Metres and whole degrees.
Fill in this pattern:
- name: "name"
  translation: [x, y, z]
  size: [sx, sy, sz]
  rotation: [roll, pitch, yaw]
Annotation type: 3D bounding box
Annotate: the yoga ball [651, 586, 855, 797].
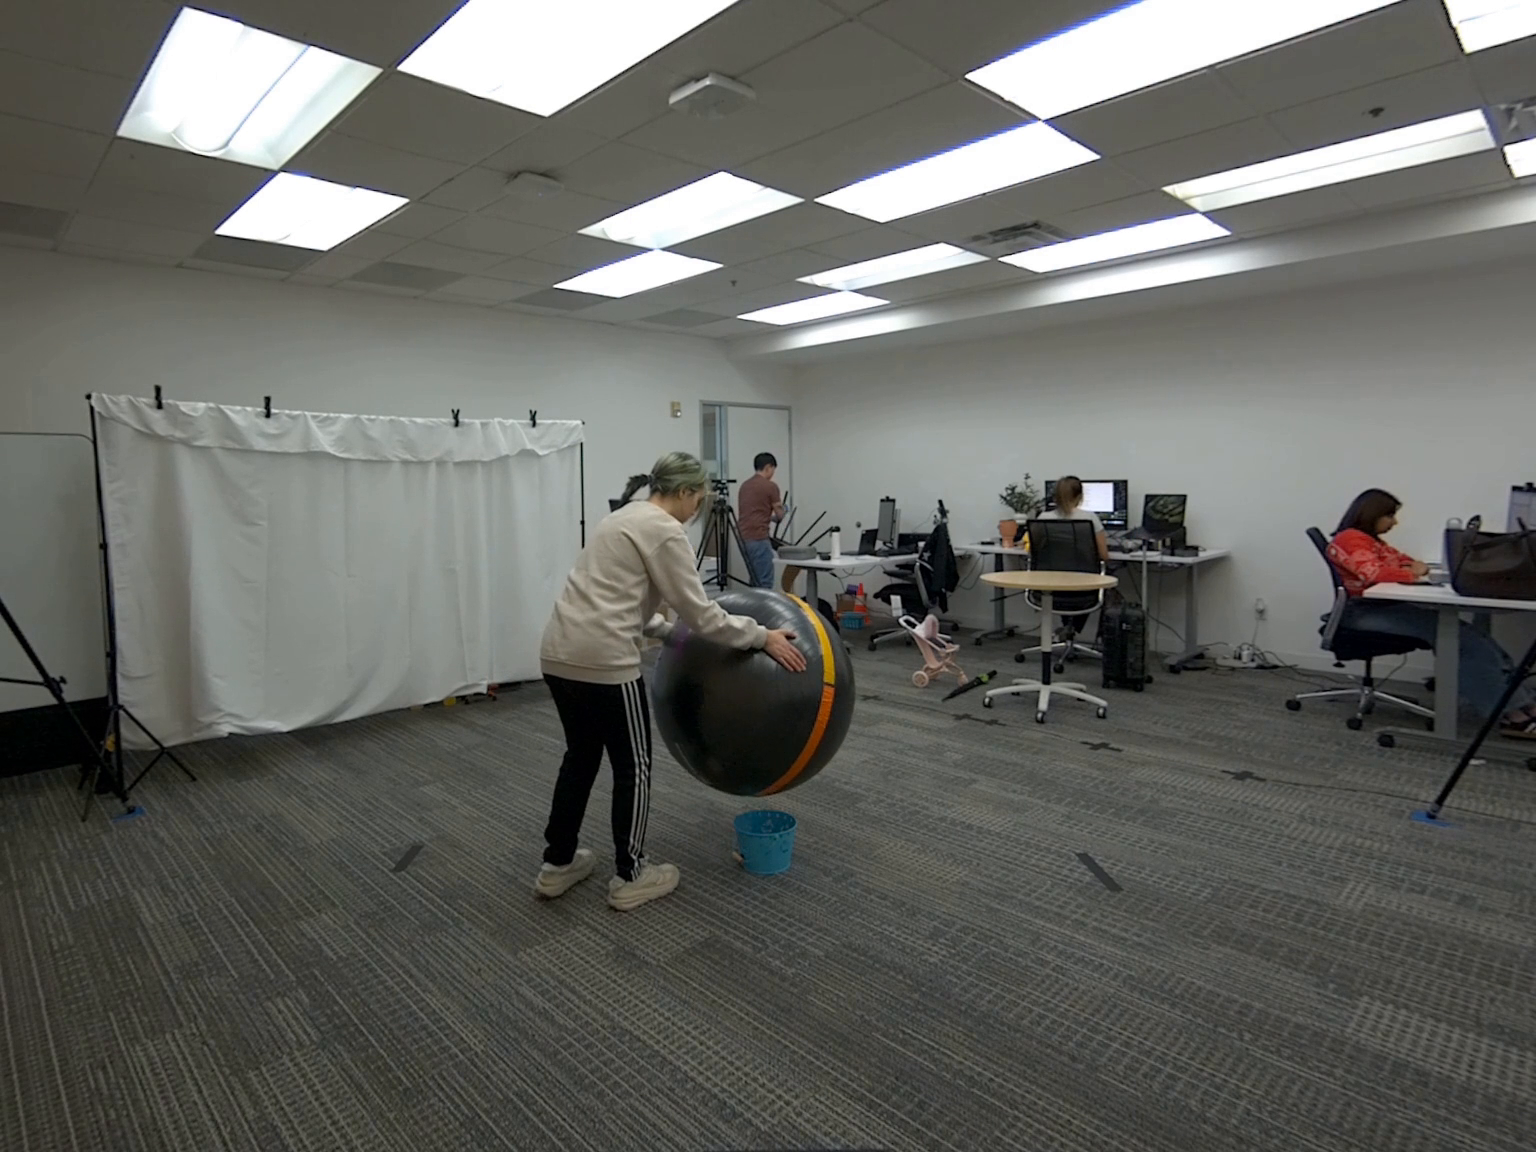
- name: "yoga ball"
  translation: [-0.060, 0.428, 3.181]
  size: [0.757, 0.755, 0.762]
  rotation: [-1, 5, -2]
